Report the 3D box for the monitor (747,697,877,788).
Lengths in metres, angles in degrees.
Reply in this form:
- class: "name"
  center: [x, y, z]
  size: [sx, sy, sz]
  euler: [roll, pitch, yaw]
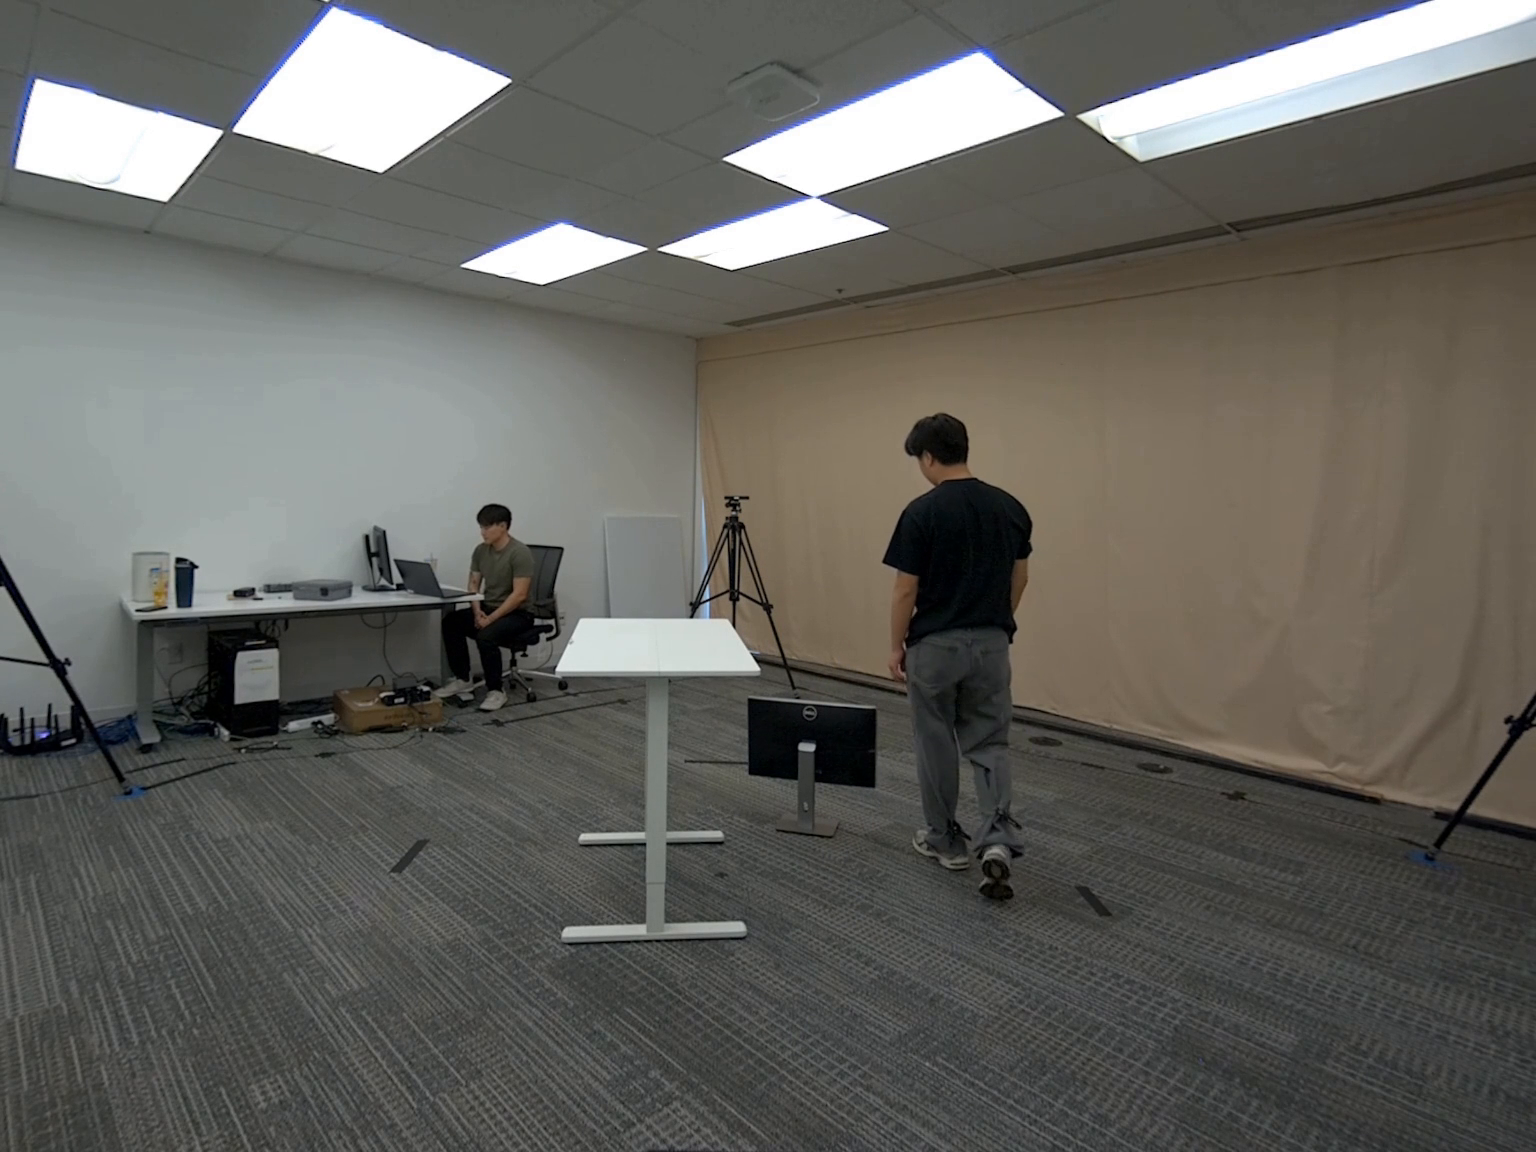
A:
- class: "monitor"
  center: [0.166, 0.810, 3.593]
  size: [0.570, 0.566, 0.219]
  euler: [2, -2, 17]
